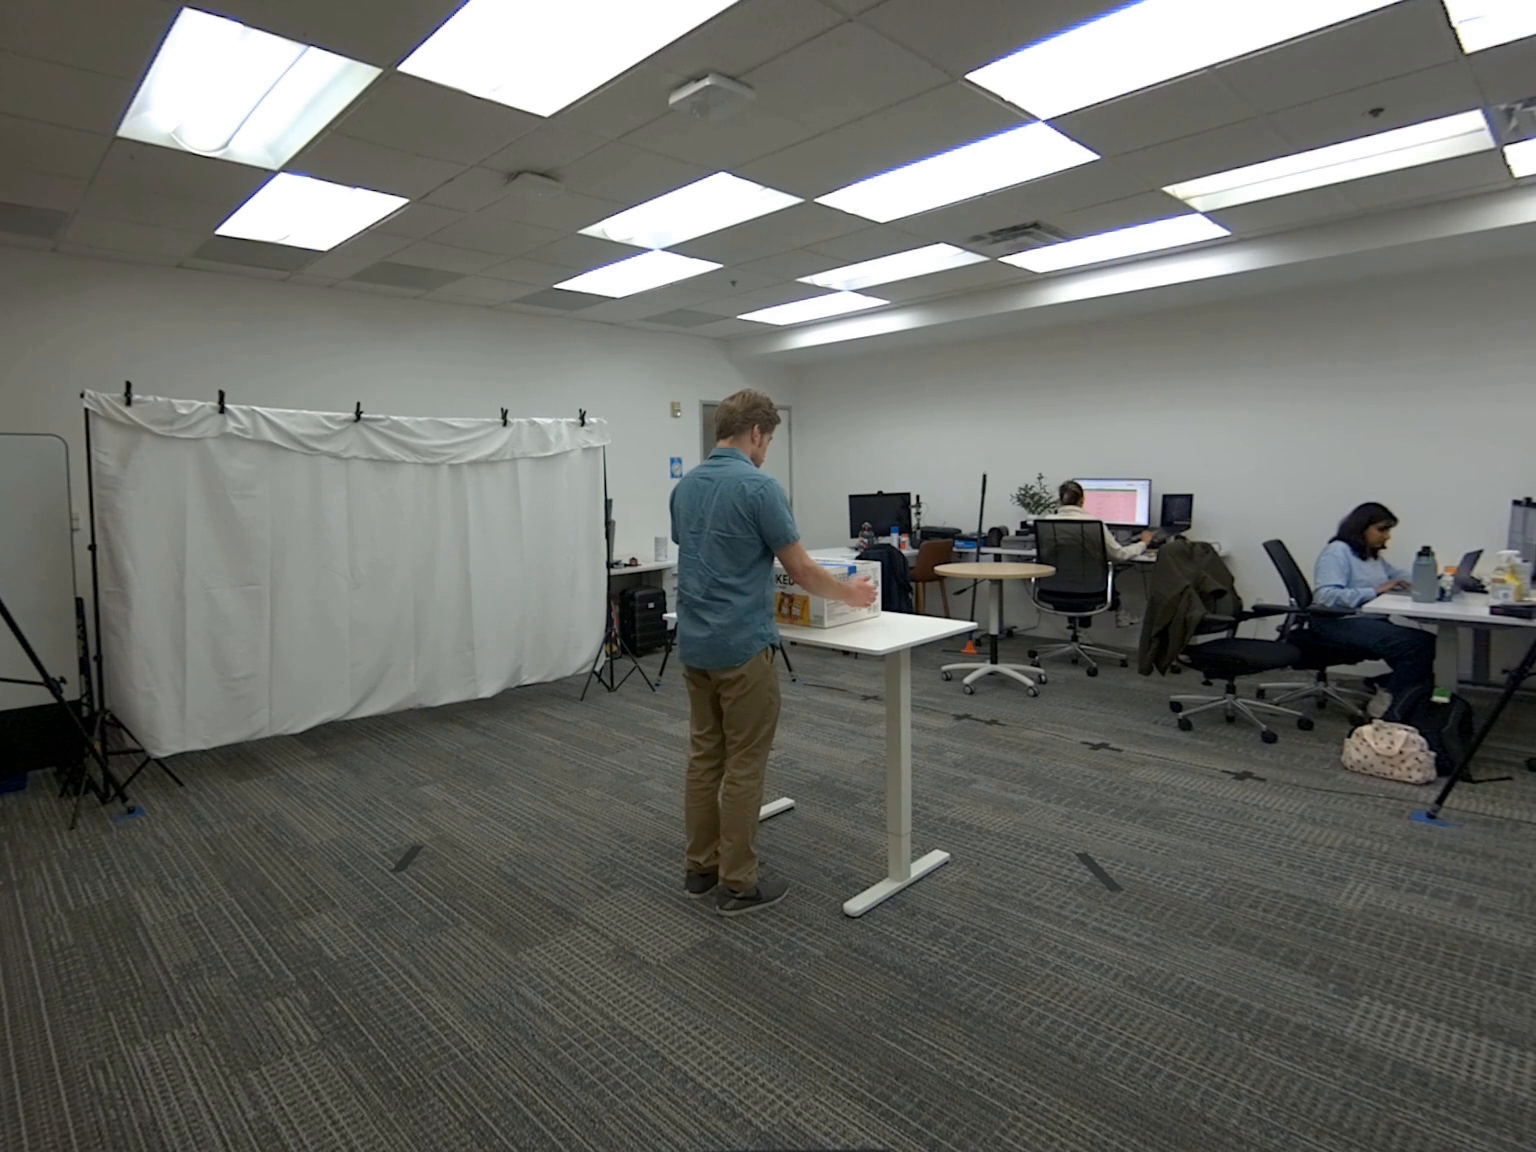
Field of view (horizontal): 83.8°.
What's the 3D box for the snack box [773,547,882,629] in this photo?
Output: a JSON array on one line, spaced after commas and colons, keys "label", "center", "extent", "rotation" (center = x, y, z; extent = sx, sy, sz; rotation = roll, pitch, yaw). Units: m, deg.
[{"label": "snack box", "center": [0.158, 0.050, 3.175], "extent": [0.418, 0.204, 0.332], "rotation": [5, 9, 43]}]
